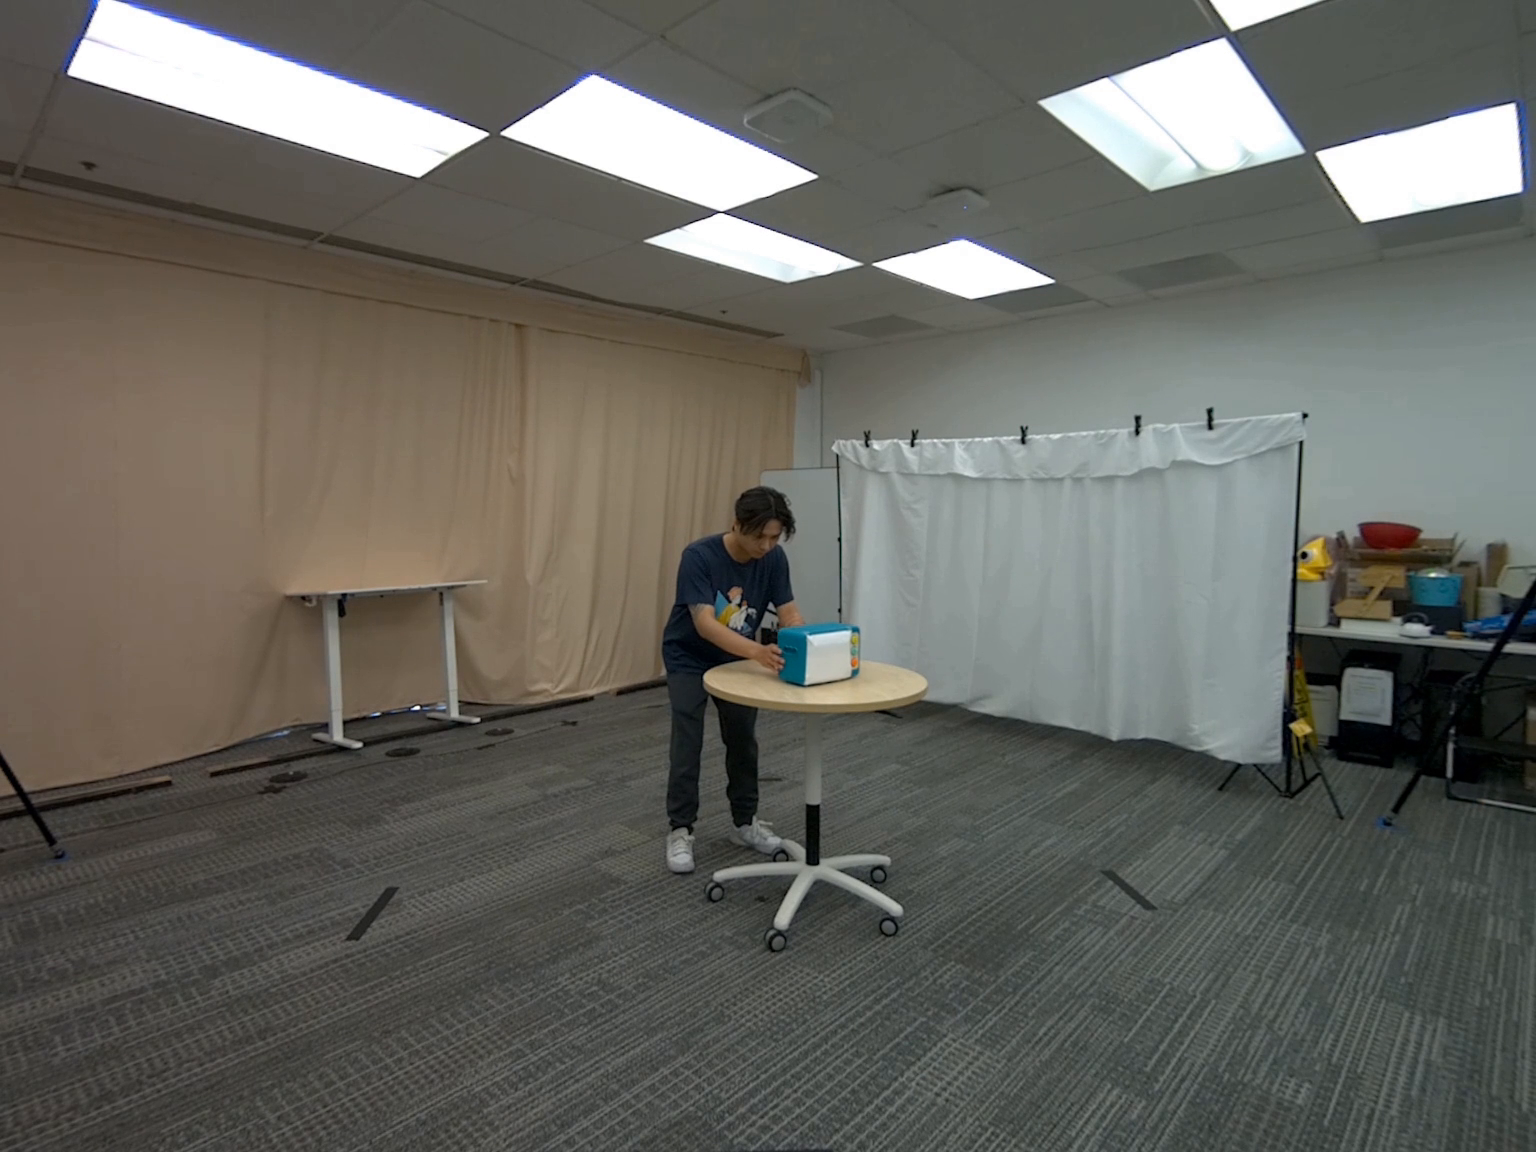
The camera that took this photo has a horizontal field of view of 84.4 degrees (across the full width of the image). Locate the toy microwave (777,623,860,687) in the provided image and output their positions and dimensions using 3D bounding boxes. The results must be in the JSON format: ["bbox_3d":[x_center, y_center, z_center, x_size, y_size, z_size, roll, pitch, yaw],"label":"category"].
[{"bbox_3d":[0.185,0.264,2.863,0.277,0.184,0.157,-3,5,-39],"label":"toy microwave"}]
